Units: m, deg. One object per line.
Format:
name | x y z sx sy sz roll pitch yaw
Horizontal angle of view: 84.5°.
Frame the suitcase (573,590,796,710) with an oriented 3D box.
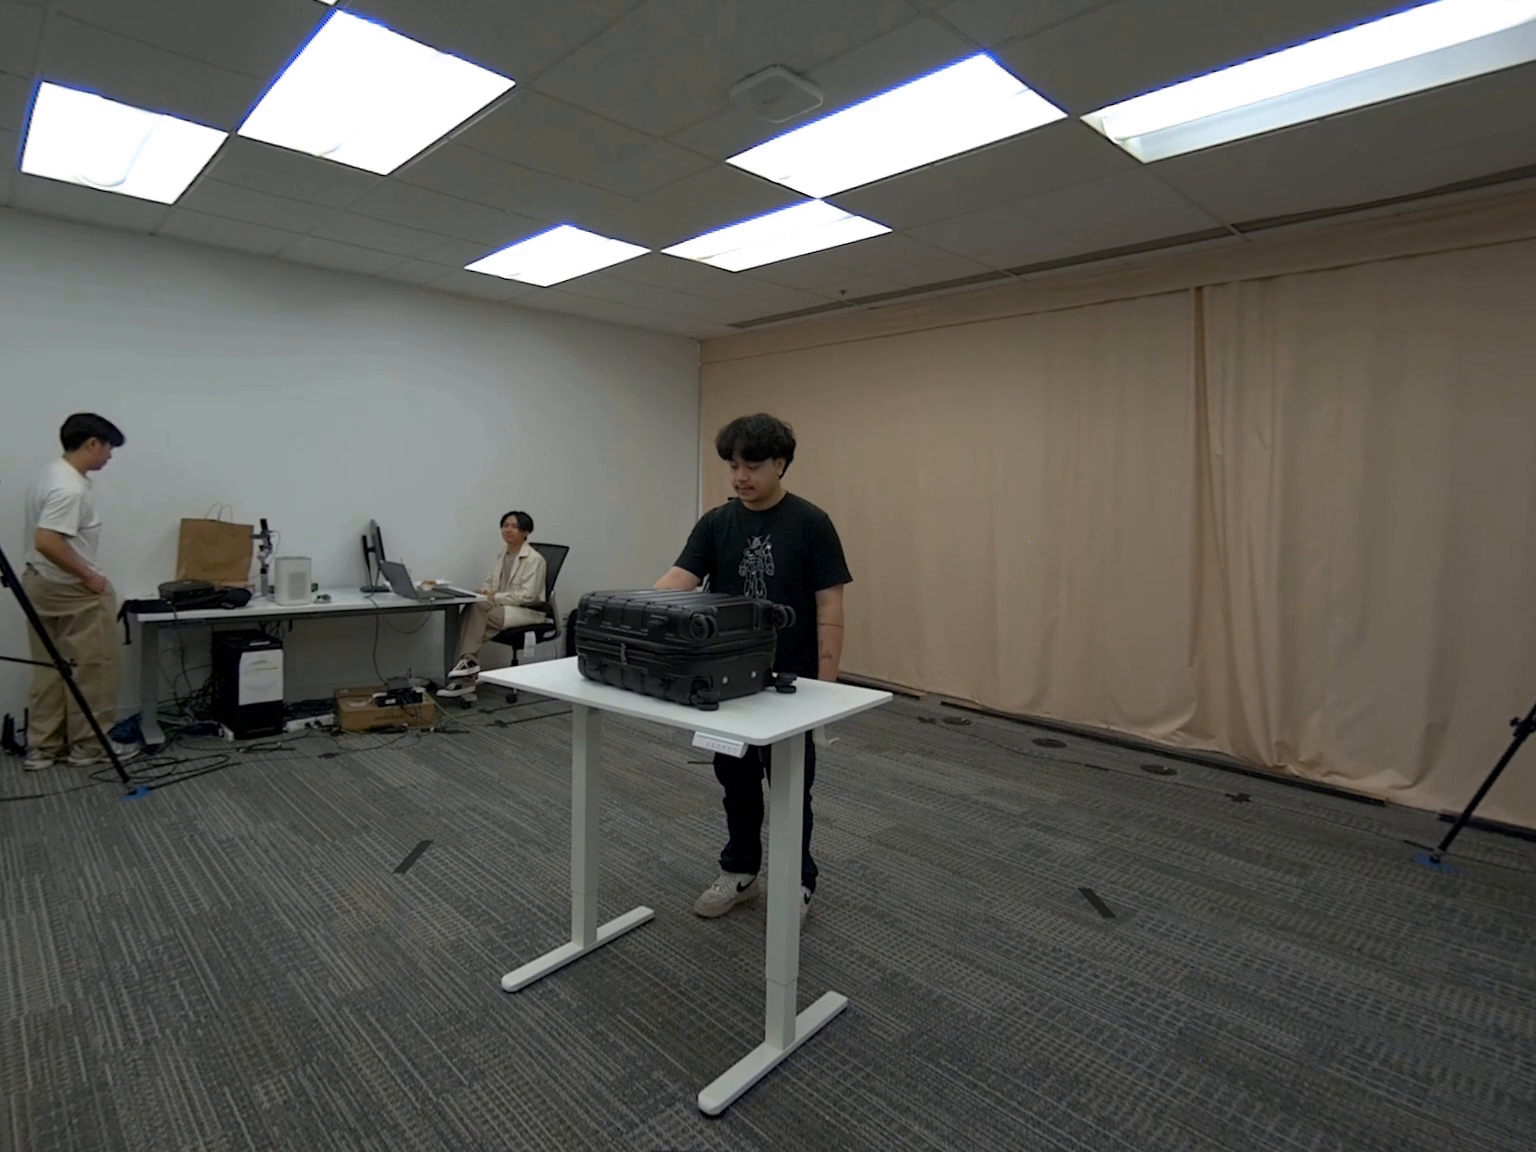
suitcase | -0.260 0.184 2.267 0.564 0.247 0.367 7 7 44
